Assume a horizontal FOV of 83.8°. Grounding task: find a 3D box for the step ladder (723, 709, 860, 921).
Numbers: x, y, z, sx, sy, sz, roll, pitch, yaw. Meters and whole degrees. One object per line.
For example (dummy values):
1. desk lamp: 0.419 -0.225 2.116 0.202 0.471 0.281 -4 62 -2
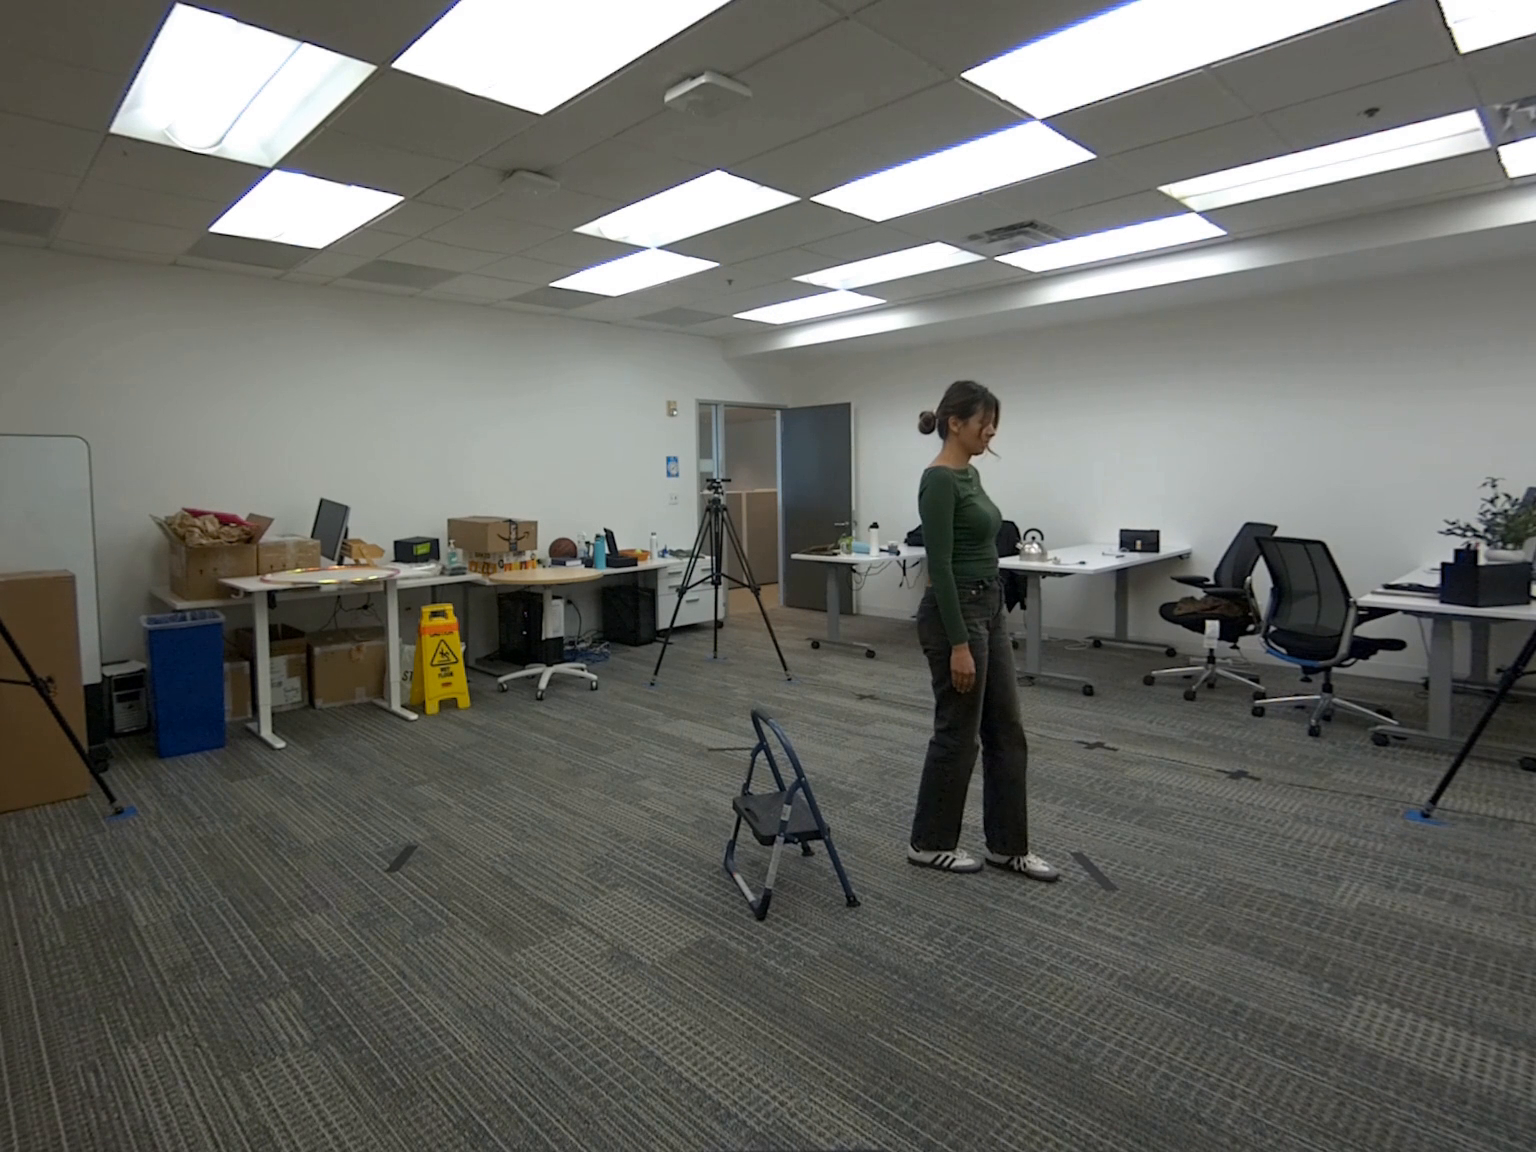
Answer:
1. step ladder: 0.069 0.758 2.920 0.344 0.604 0.439 -2 4 -18
